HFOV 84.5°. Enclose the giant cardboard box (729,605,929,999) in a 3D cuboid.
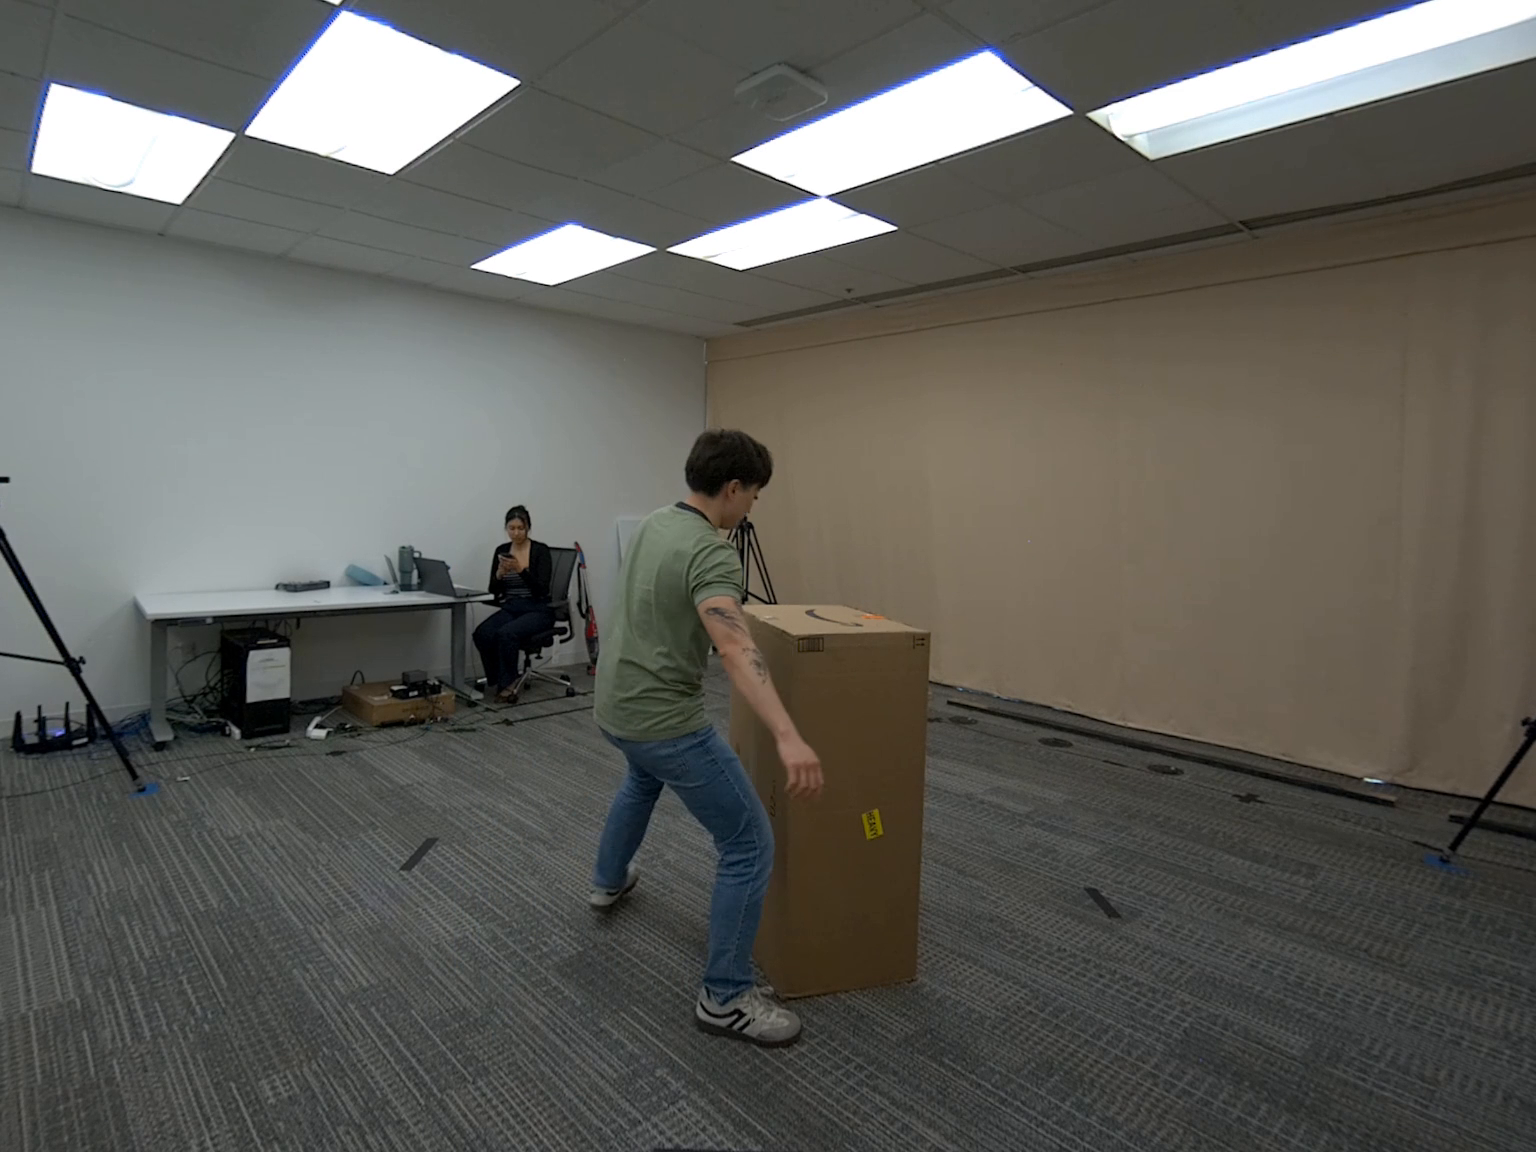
[{"bbox_3d":[0.153,0.639,2.637,0.420,1.023,0.587,0,4,-19],"label":"giant cardboard box"}]
